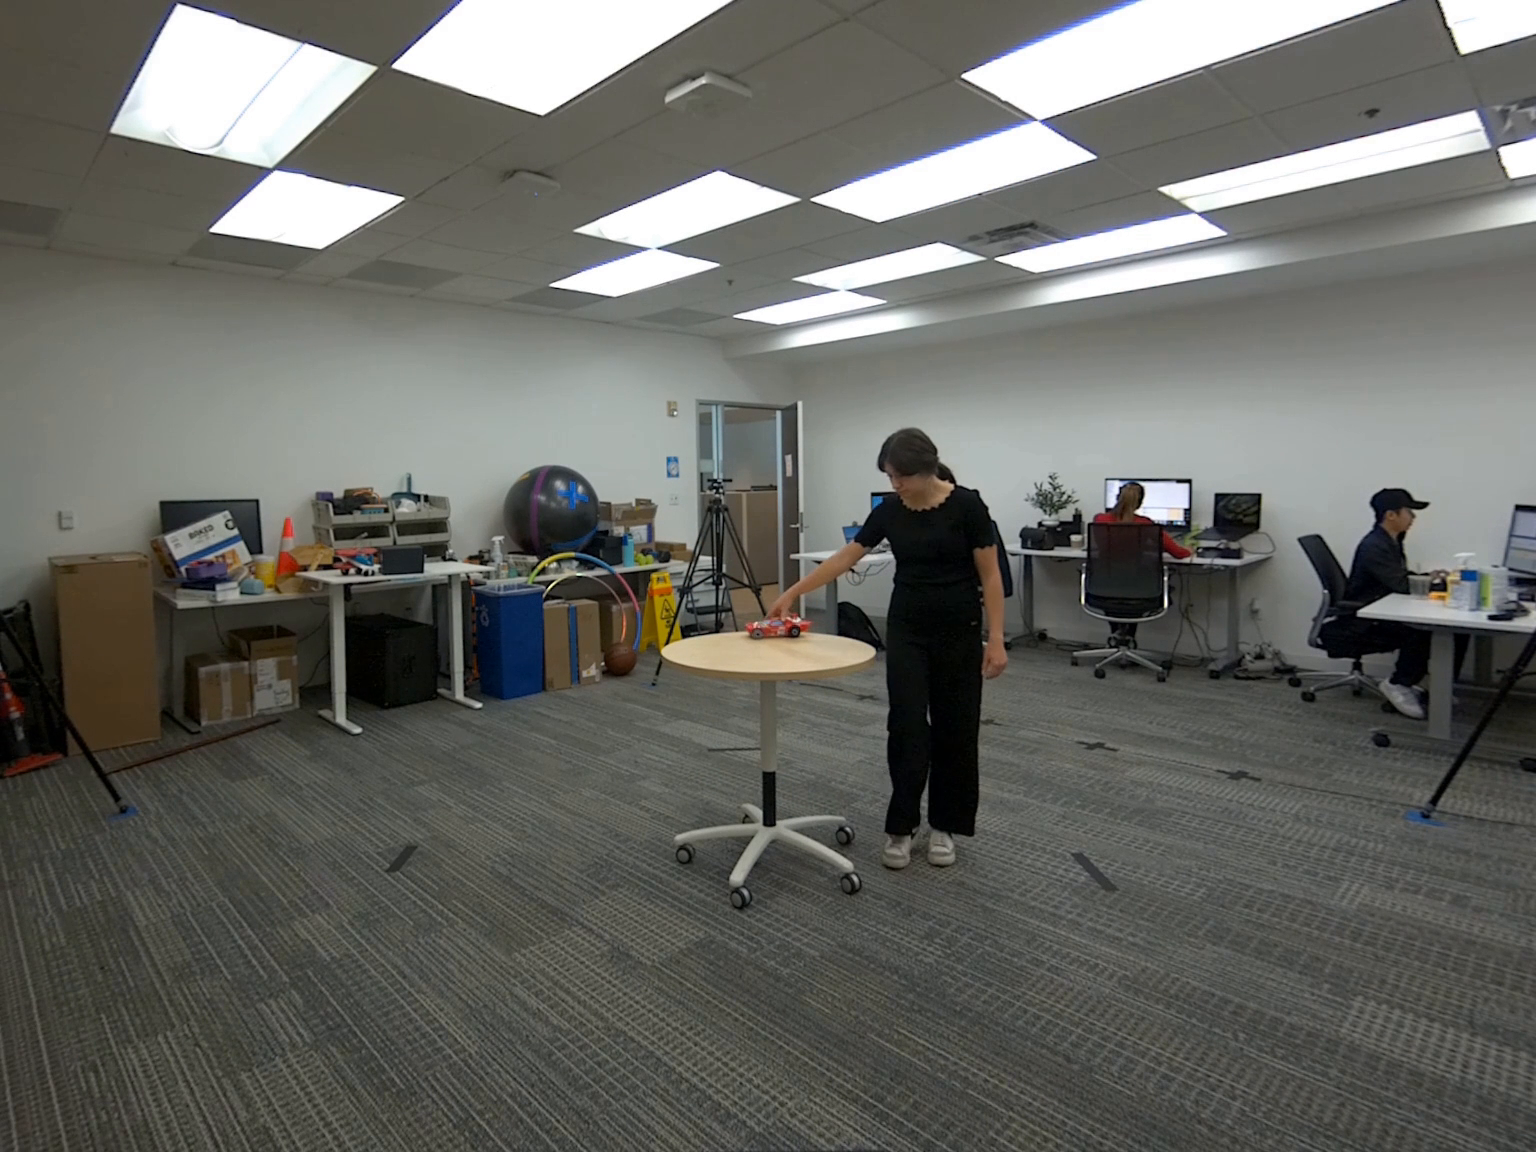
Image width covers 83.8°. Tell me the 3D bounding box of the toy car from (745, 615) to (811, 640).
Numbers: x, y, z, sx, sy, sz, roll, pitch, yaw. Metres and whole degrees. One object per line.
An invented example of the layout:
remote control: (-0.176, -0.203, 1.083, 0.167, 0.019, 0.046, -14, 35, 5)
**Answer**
toy car: (0.049, 0.205, 3.325, 0.253, 0.083, 0.131, -12, 4, -6)
